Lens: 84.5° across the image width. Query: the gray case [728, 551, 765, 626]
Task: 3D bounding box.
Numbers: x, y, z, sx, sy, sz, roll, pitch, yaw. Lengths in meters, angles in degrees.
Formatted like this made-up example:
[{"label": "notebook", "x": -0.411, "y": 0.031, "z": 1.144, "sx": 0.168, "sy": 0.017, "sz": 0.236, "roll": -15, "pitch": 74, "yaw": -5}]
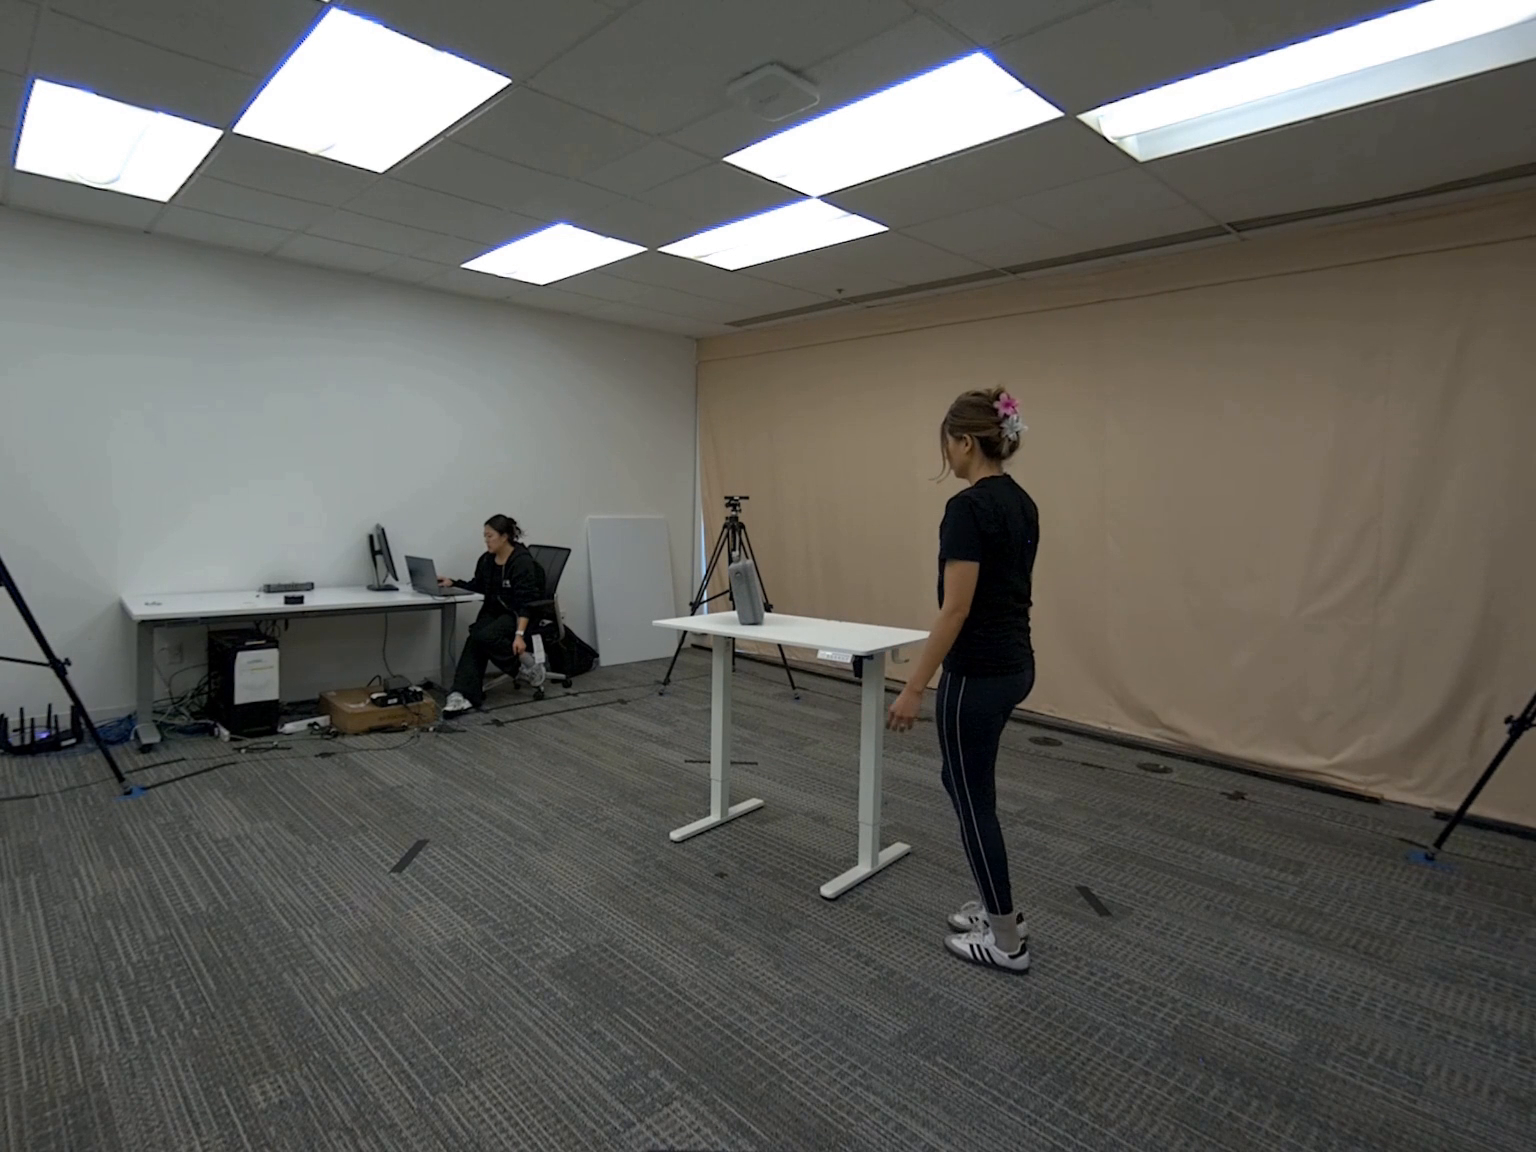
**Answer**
[{"label": "gray case", "x": -0.106, "y": 0.055, "z": 3.485, "sx": 0.104, "sy": 0.260, "sz": 0.257, "roll": -8, "pitch": 2, "yaw": -2}]
